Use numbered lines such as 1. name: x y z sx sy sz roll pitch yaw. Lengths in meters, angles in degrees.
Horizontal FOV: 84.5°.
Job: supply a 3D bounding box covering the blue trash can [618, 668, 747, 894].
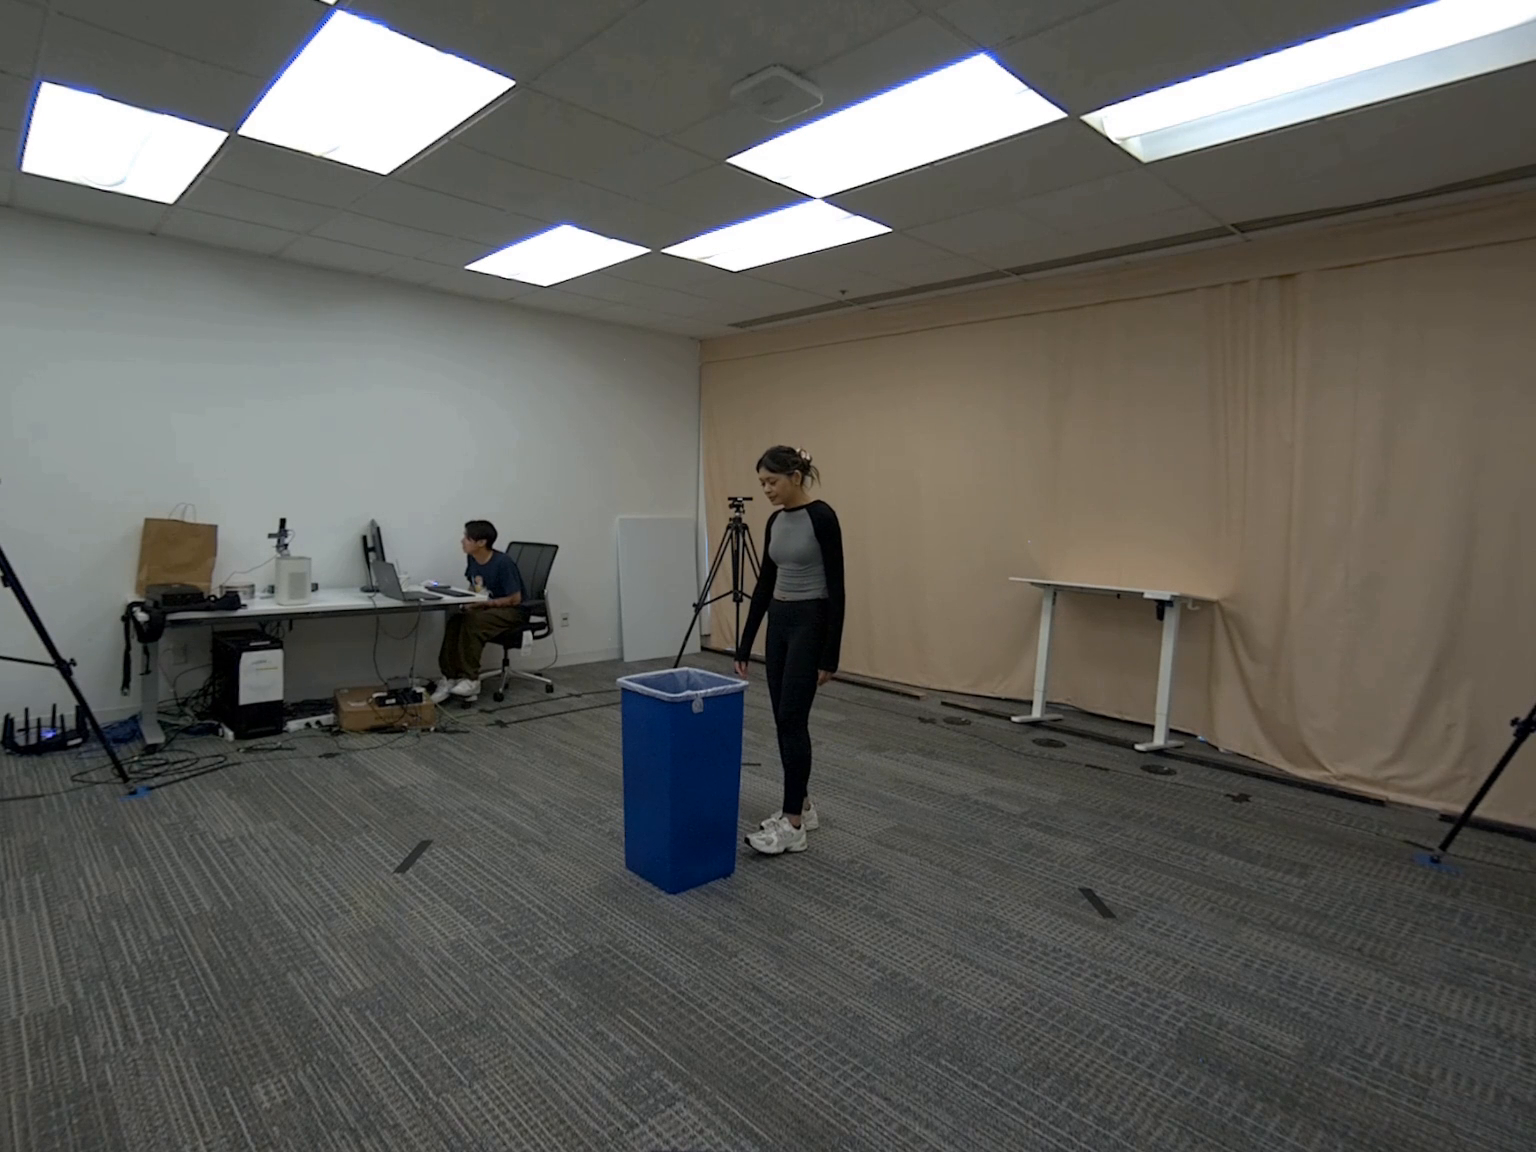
1. blue trash can: -0.336 0.743 3.134 0.369 0.712 0.384 -1 5 -42
